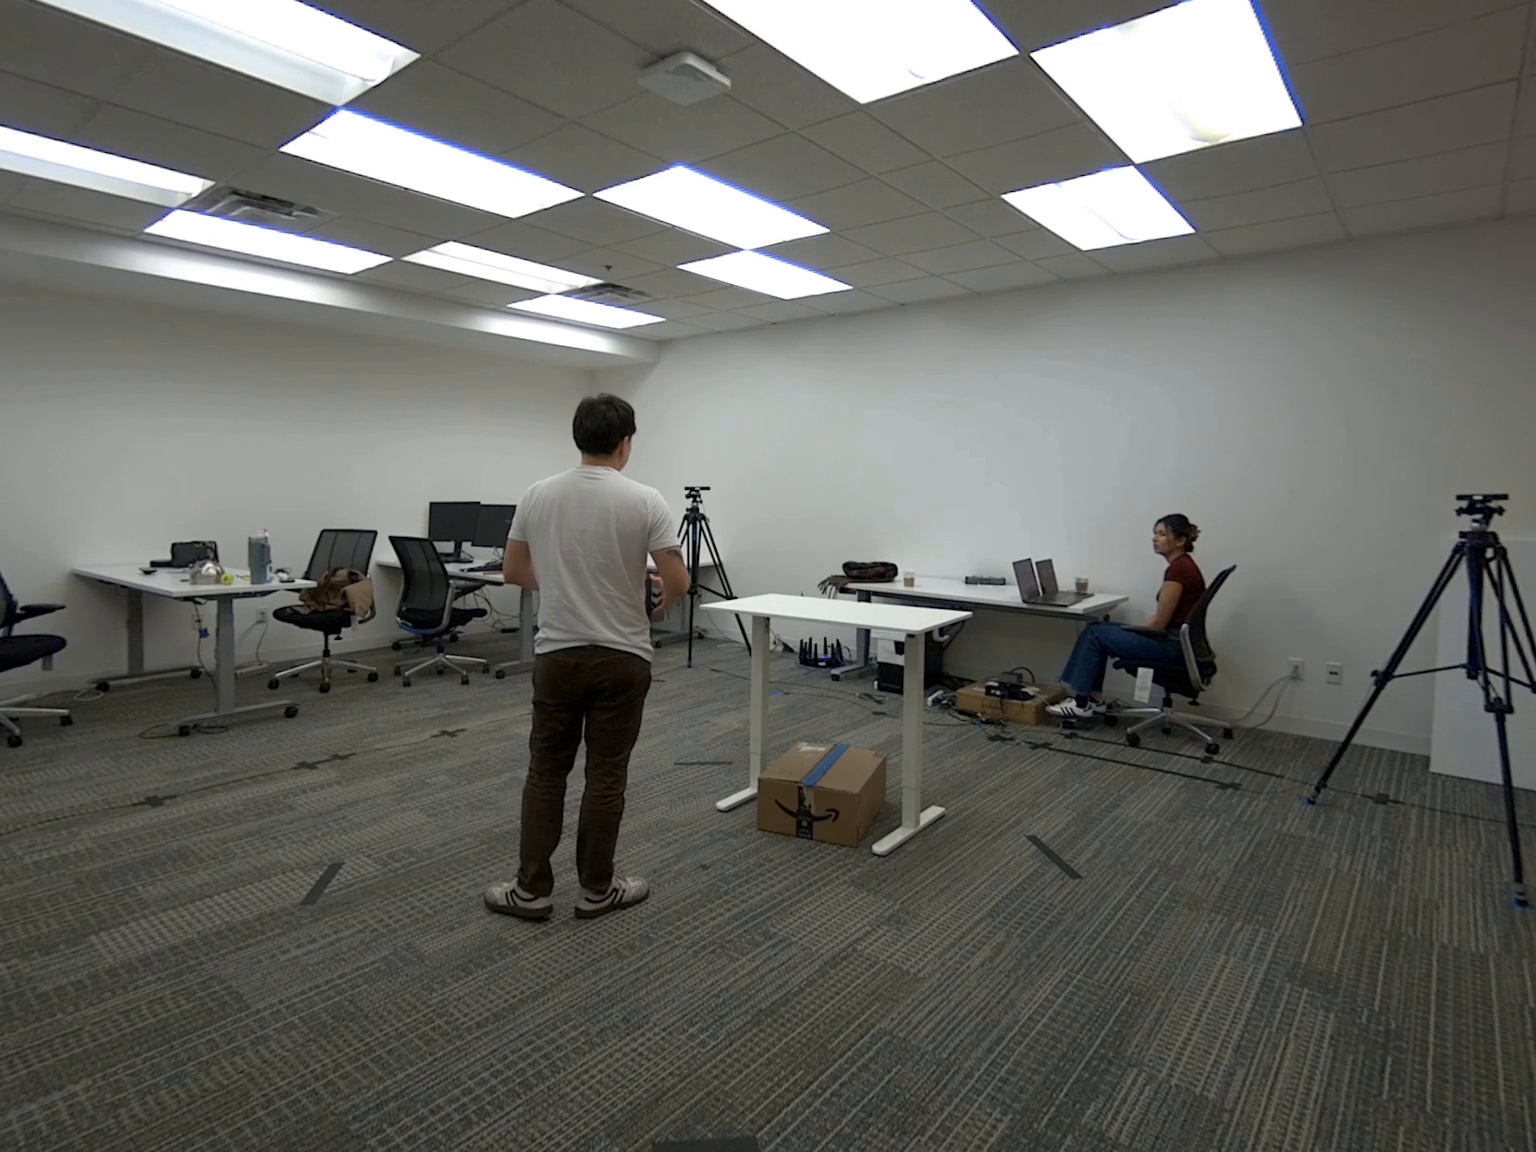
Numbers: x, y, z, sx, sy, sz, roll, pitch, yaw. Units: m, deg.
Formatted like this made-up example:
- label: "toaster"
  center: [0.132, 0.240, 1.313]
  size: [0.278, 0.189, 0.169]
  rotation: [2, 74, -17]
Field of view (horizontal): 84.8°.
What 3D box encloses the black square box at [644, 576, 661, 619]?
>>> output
- label: "black square box"
  center: [-0.521, 0.079, 3.082]
  size: [0.230, 0.156, 0.214]
  rotation: [0, -2, 9]
